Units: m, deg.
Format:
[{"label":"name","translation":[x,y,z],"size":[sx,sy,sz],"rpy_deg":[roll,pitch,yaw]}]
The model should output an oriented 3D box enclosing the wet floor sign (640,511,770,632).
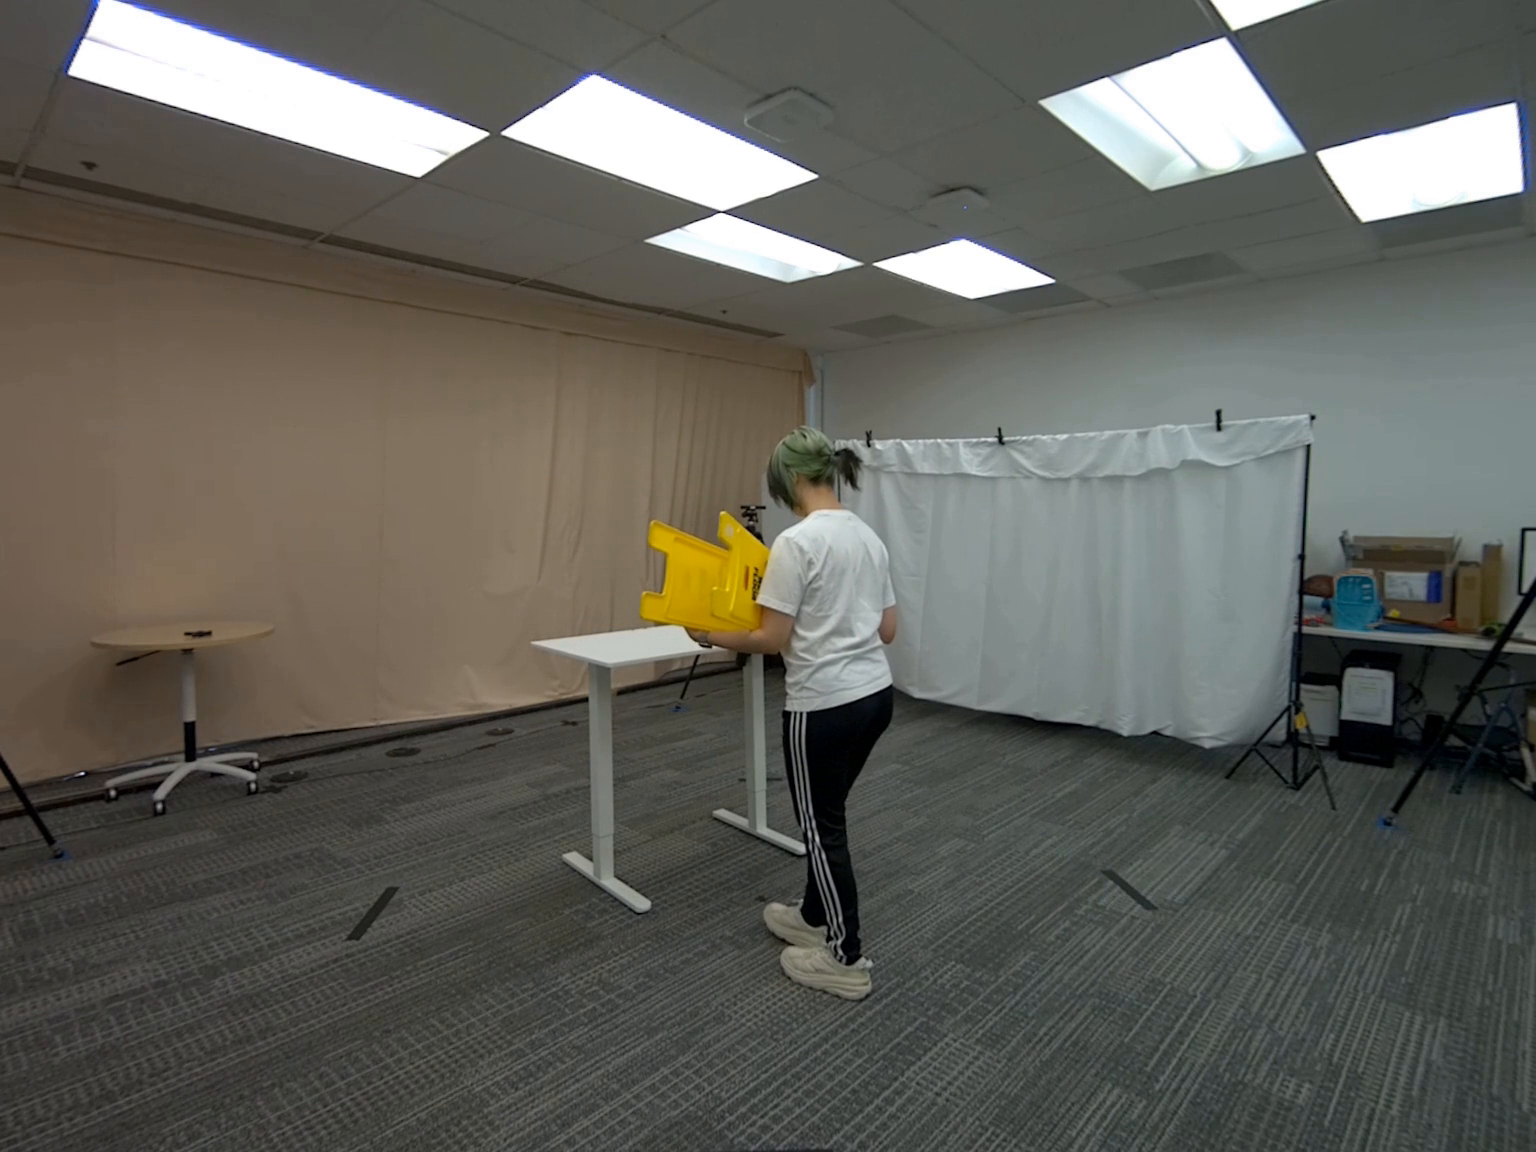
[{"label":"wet floor sign","translation":[-0.057,0.055,2.479],"size":[0.298,0.284,0.623],"rpy_deg":[-4,-17,35]}]
